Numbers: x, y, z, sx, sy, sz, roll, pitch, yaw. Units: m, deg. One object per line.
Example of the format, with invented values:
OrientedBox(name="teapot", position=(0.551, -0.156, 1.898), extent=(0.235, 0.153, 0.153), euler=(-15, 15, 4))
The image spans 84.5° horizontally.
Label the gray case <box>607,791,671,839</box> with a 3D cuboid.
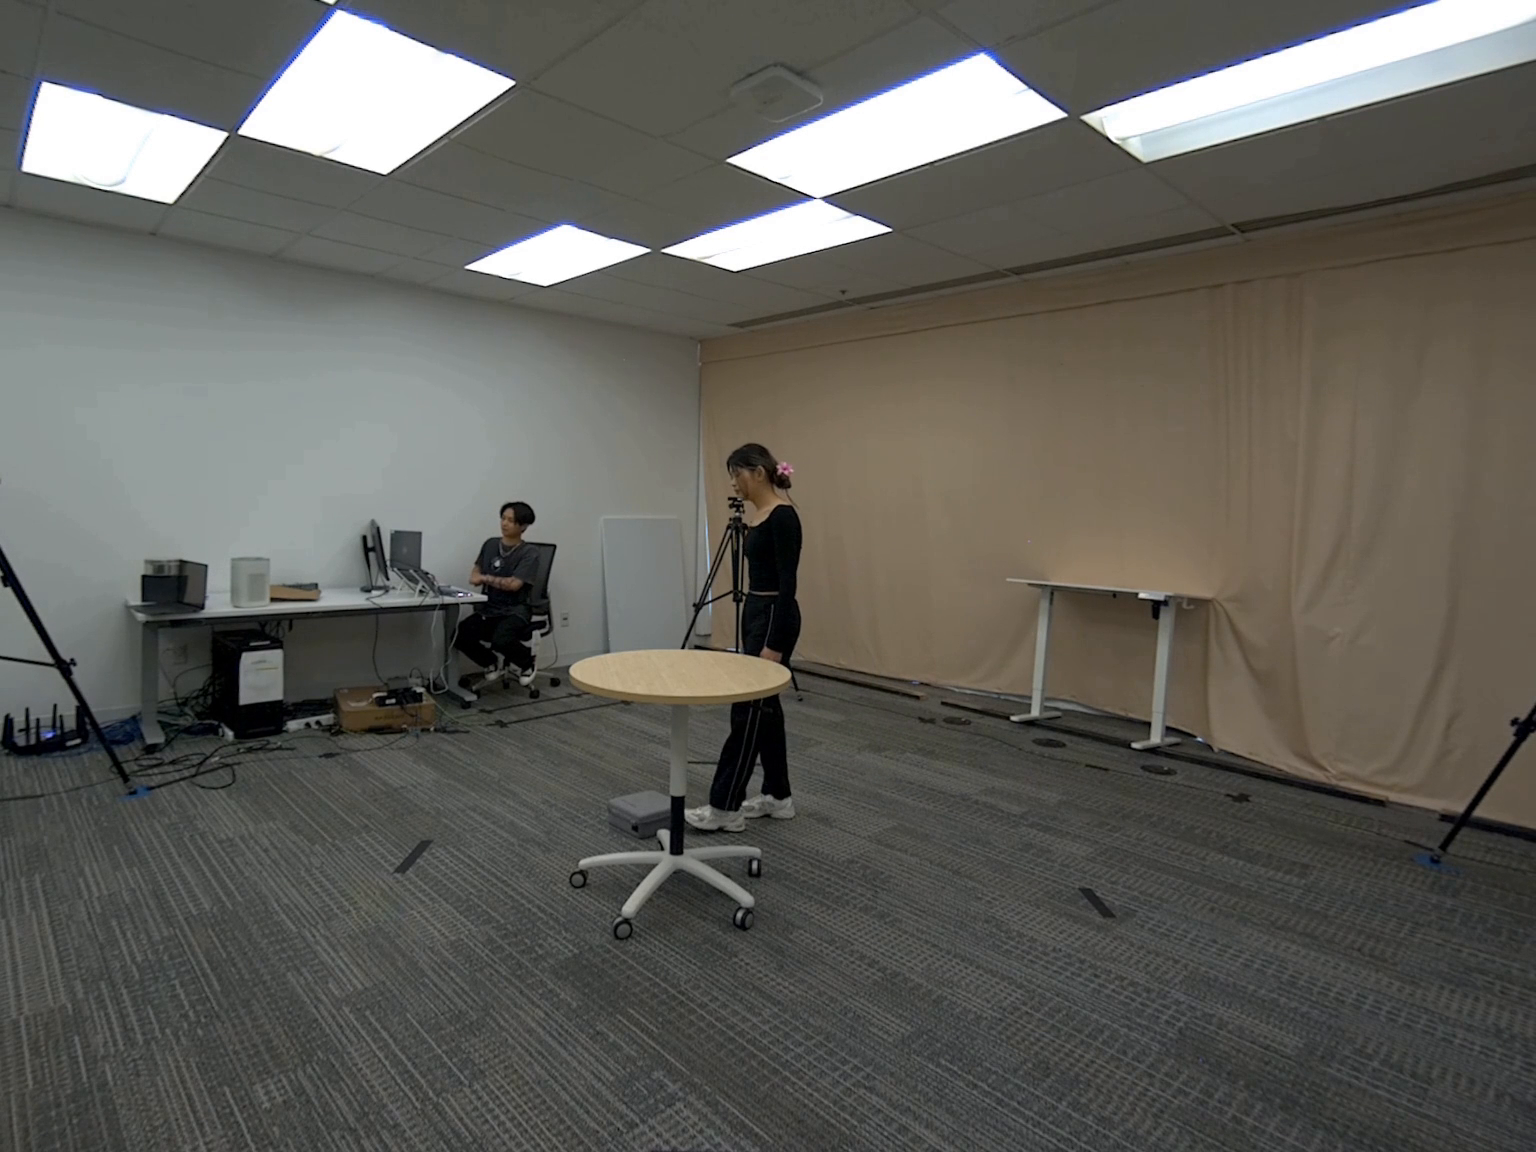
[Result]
OrientedBox(name="gray case", position=(-0.522, 0.999, 3.570), extent=(0.254, 0.104, 0.263), euler=(-1, 5, -43))
